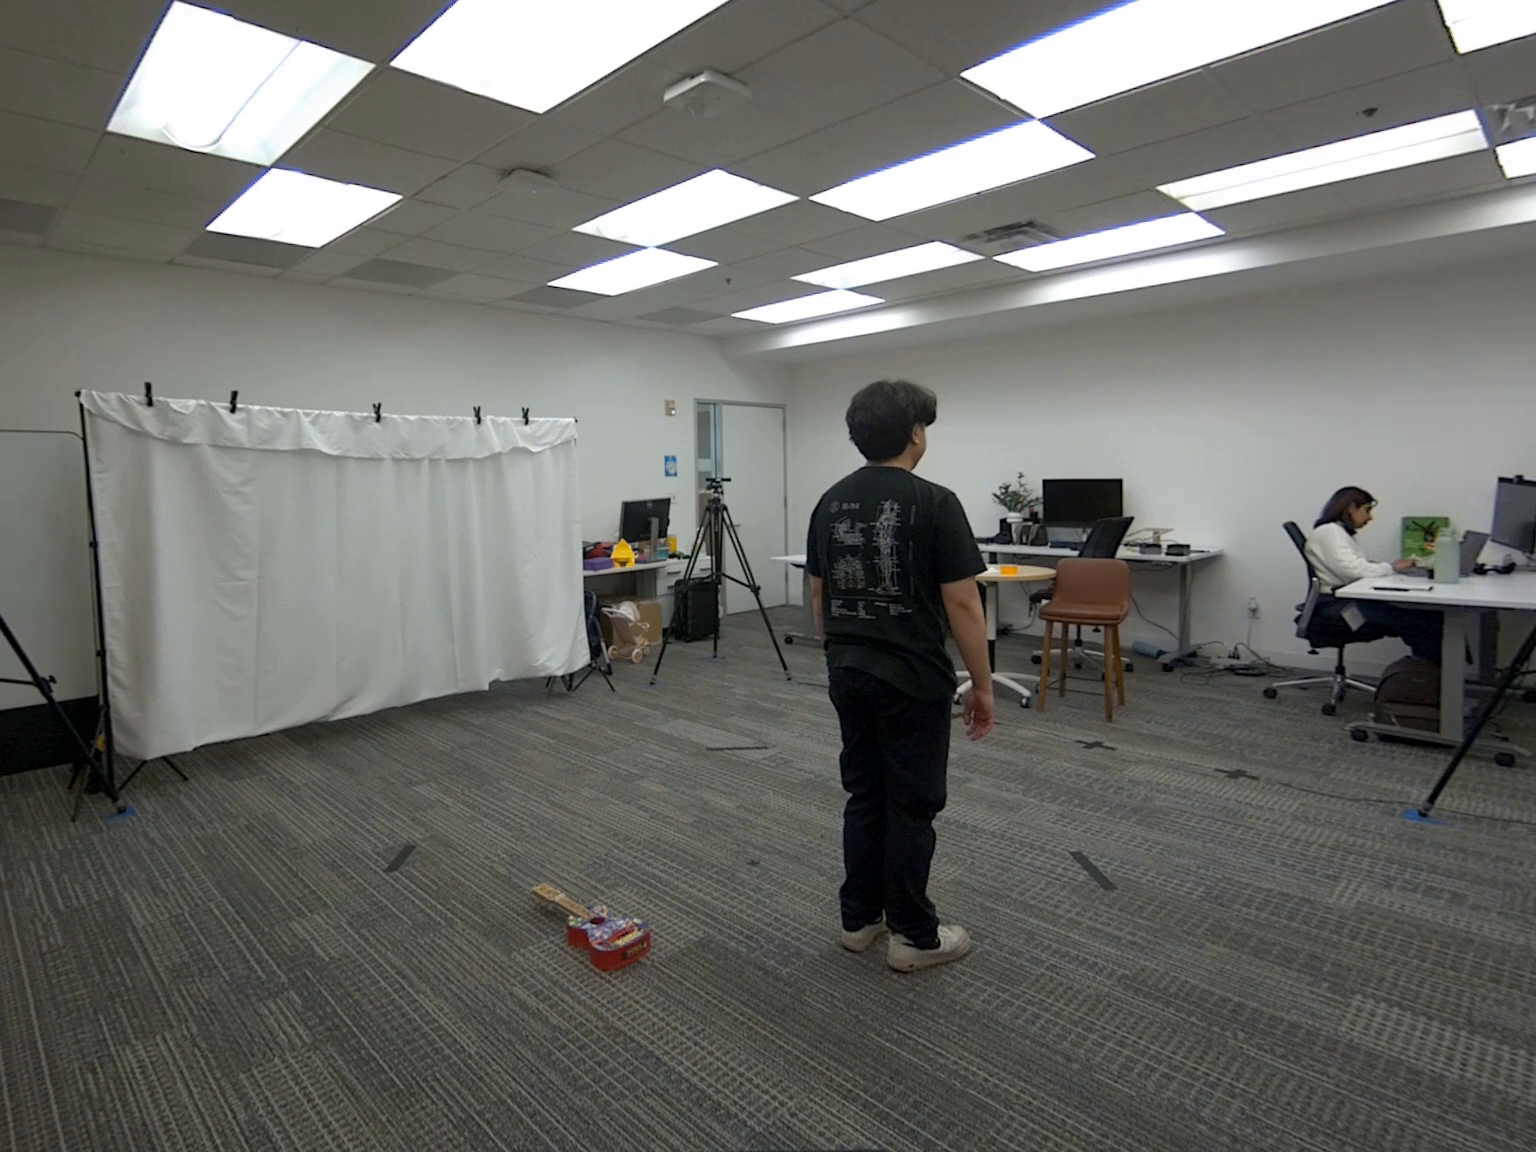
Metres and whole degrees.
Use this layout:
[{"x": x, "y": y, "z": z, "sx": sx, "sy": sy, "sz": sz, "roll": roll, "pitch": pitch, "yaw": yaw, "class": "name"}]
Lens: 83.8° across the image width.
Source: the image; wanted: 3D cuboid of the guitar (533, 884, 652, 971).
[{"x": -0.545, "y": 1.068, "z": 2.668, "sx": 0.188, "sy": 0.070, "sz": 0.513, "roll": -7, "pitch": 10, "yaw": -39, "class": "guitar"}]
